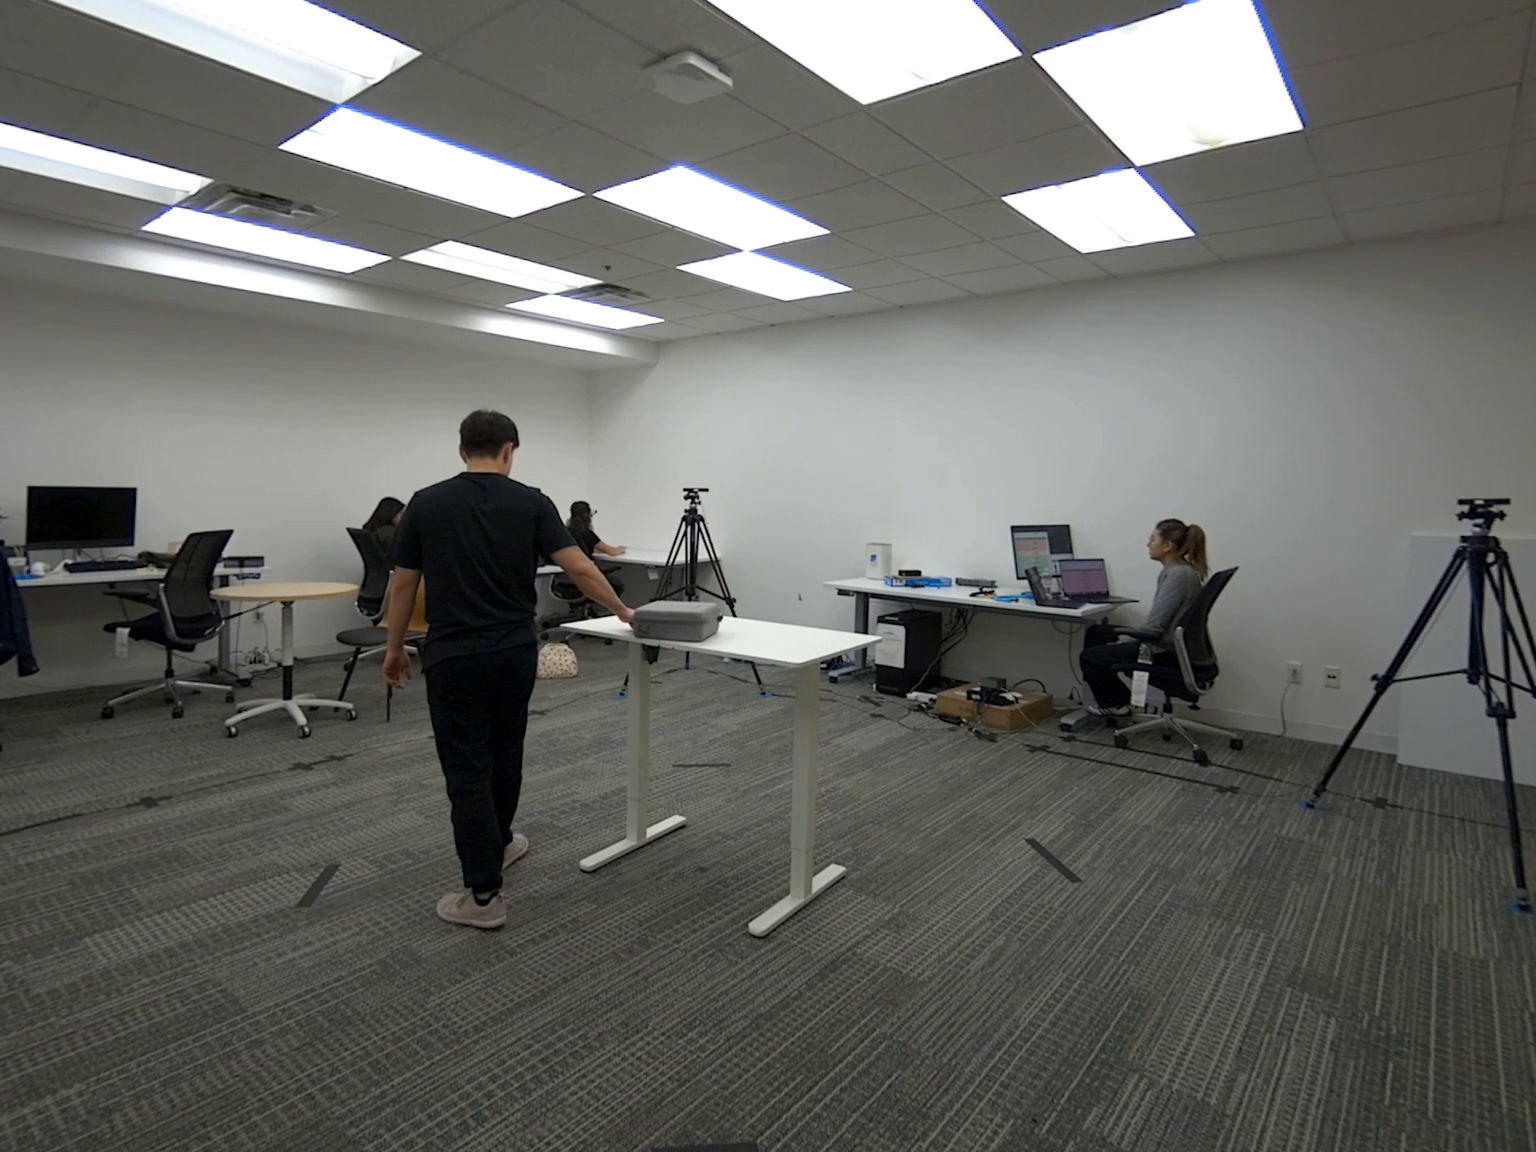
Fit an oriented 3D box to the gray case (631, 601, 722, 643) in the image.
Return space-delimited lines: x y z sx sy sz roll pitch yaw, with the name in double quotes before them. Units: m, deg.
"gray case" -0.322 0.152 2.934 0.265 0.104 0.254 1 6 13
